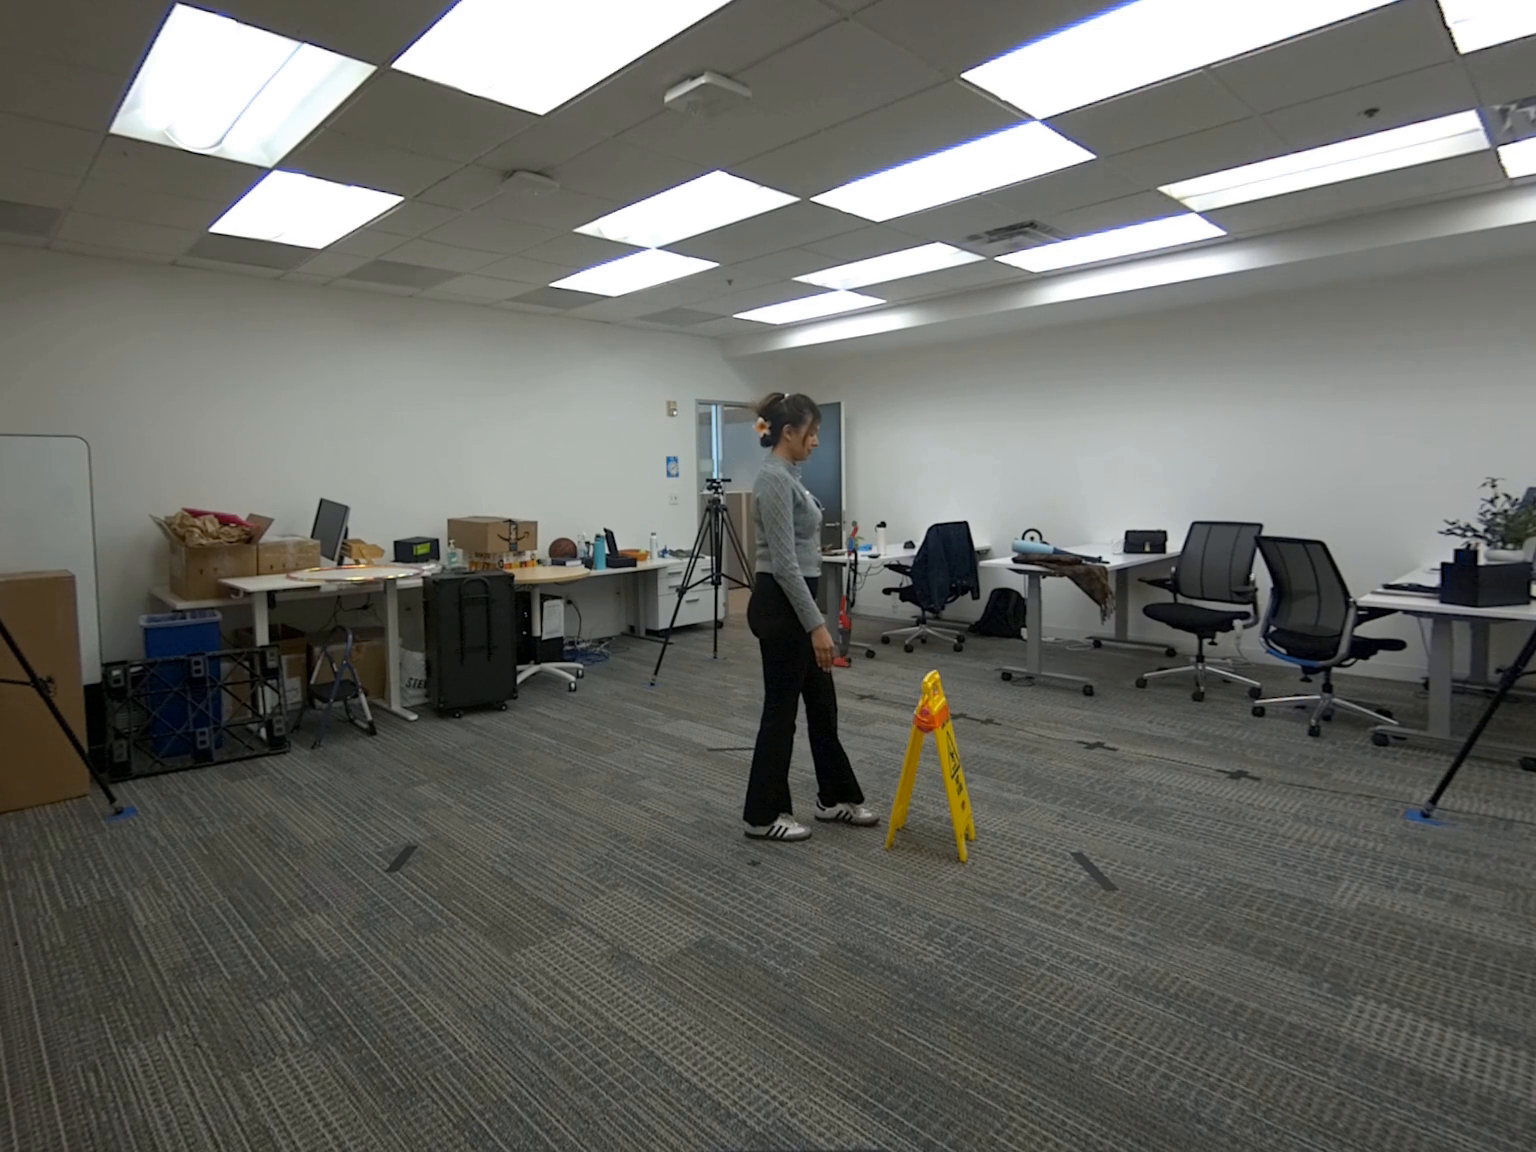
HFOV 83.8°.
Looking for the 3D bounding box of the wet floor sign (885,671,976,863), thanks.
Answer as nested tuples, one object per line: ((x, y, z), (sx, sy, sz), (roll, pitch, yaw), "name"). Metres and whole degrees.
((0.623, 0.695, 3.241), (0.296, 0.643, 0.277), (2, 5, 24), "wet floor sign")
